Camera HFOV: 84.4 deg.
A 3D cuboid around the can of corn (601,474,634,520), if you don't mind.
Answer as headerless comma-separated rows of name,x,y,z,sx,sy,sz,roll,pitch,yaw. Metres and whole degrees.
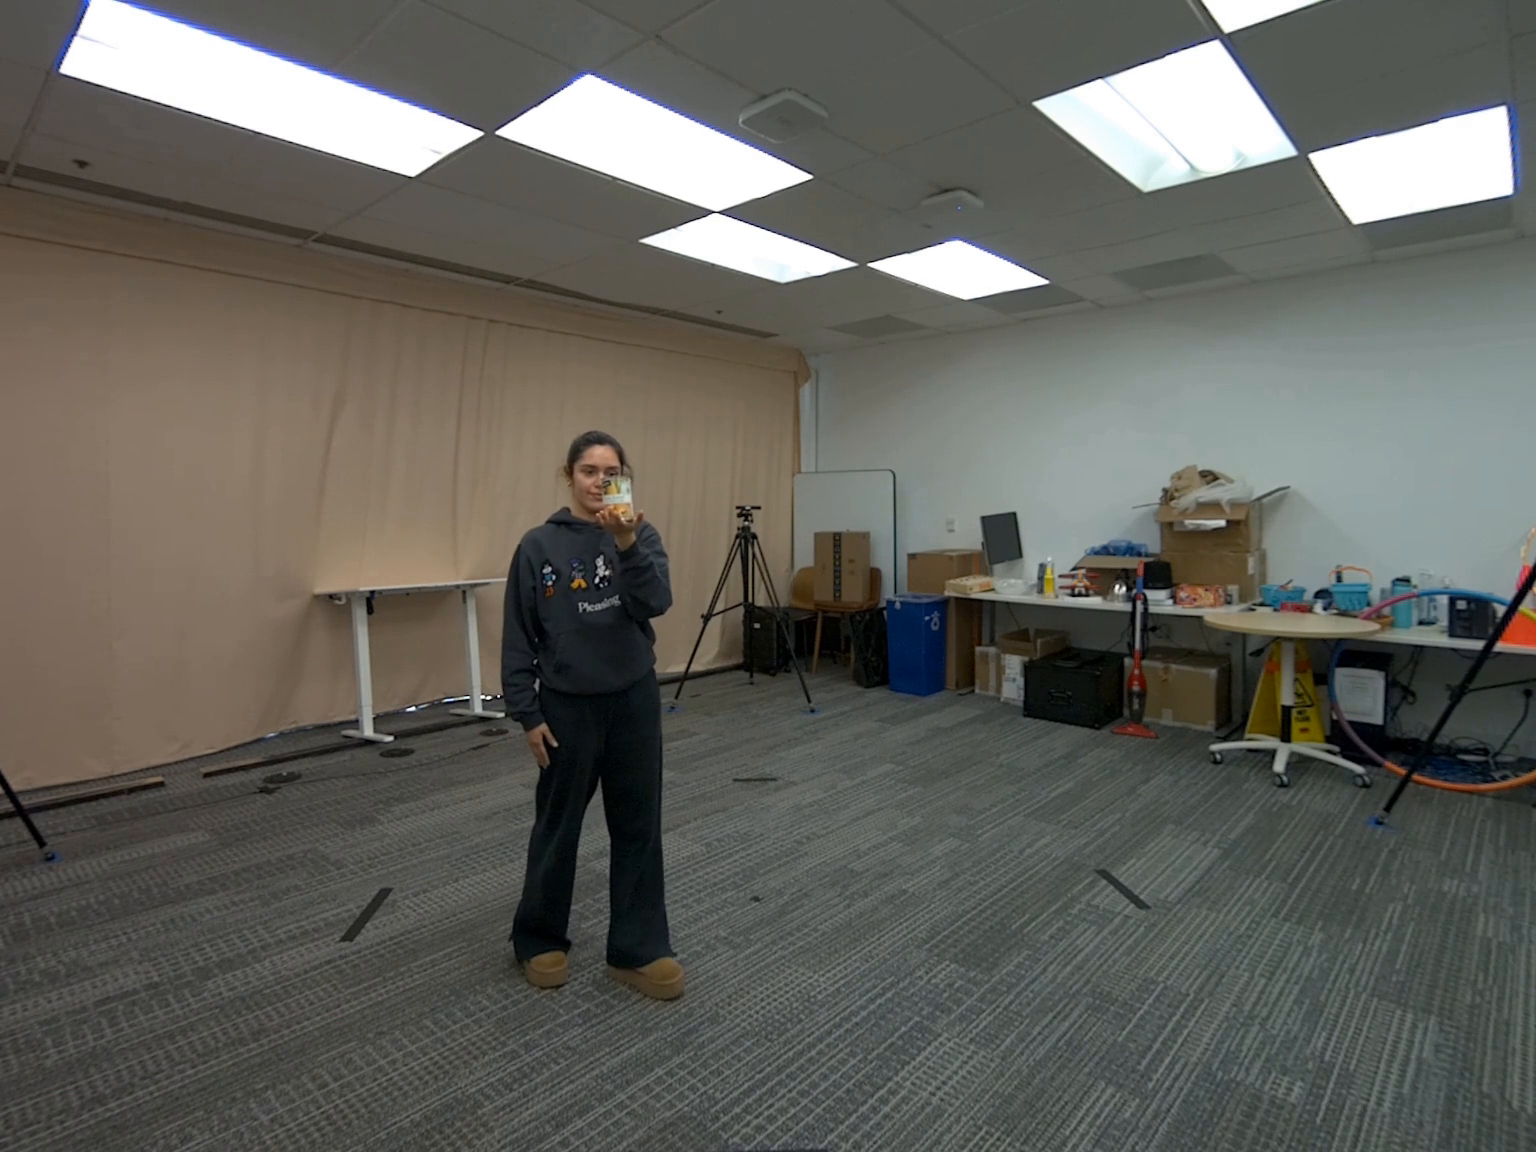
can of corn,-0.381,-0.187,2.124,0.074,0.111,0.074,-7,0,-2
